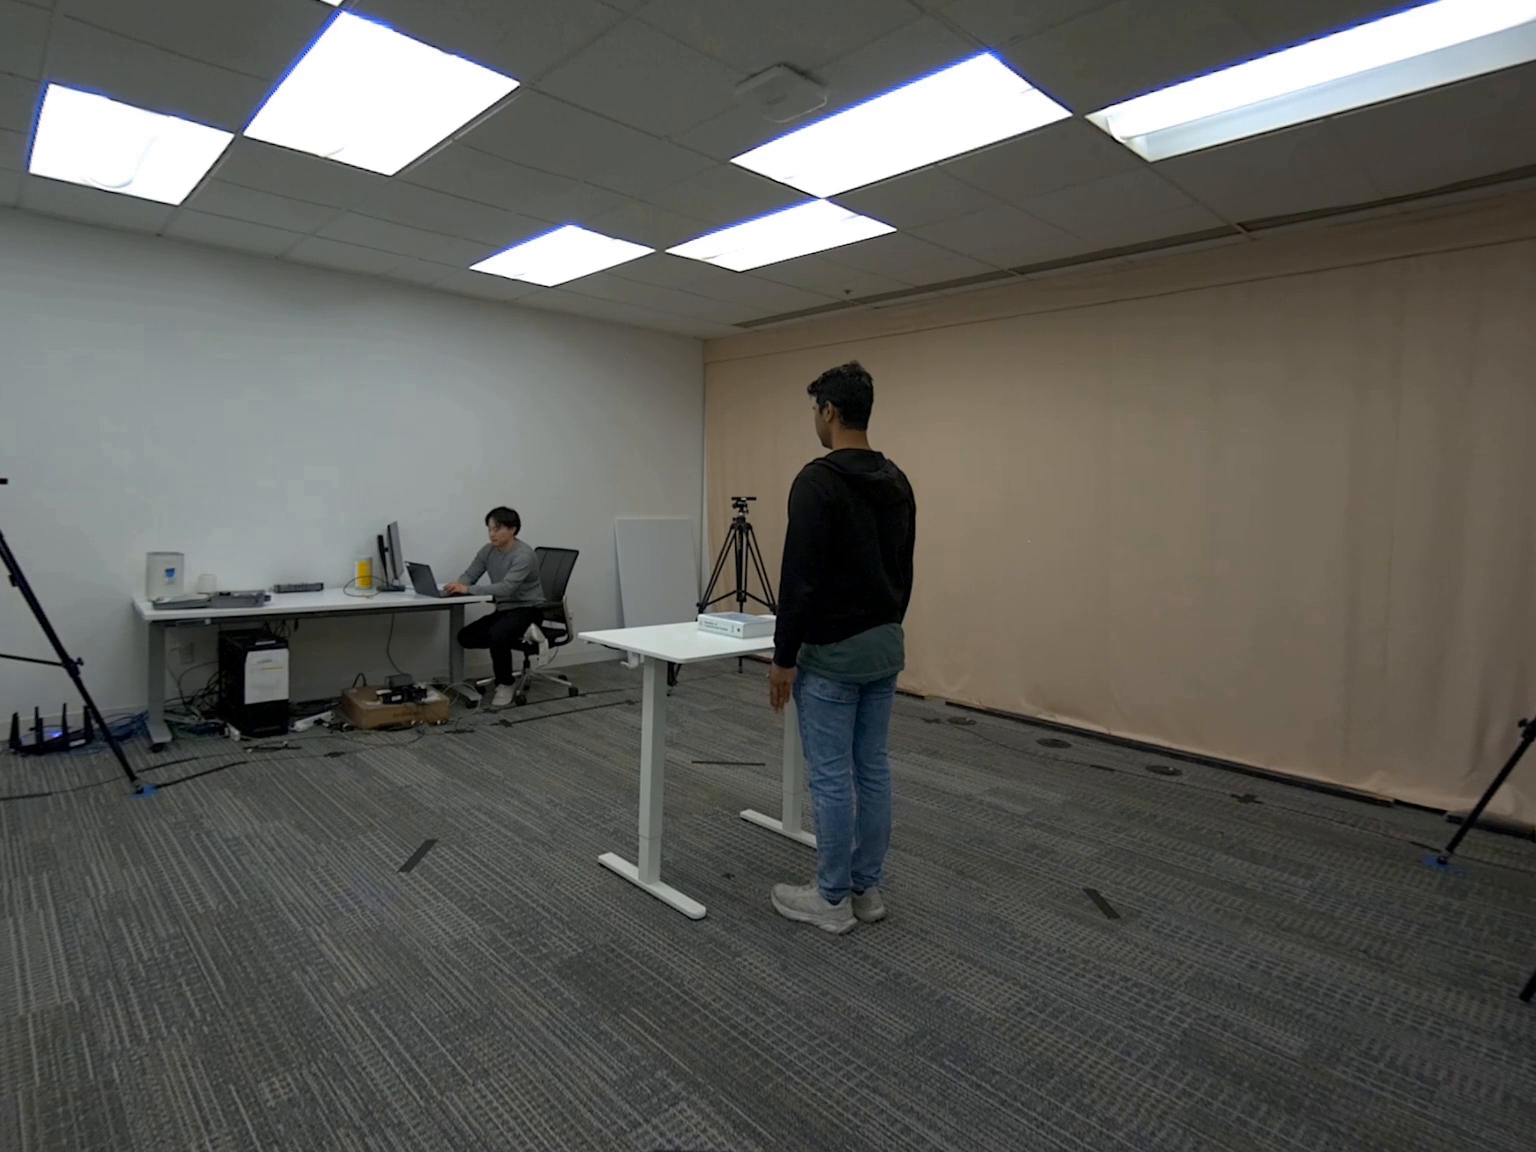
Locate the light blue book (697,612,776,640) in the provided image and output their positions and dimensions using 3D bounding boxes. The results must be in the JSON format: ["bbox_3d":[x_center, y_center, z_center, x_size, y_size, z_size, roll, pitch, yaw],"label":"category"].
[{"bbox_3d":[-0.117,0.188,3.223,0.187,0.059,0.268,-4,7,-44],"label":"light blue book"}]
